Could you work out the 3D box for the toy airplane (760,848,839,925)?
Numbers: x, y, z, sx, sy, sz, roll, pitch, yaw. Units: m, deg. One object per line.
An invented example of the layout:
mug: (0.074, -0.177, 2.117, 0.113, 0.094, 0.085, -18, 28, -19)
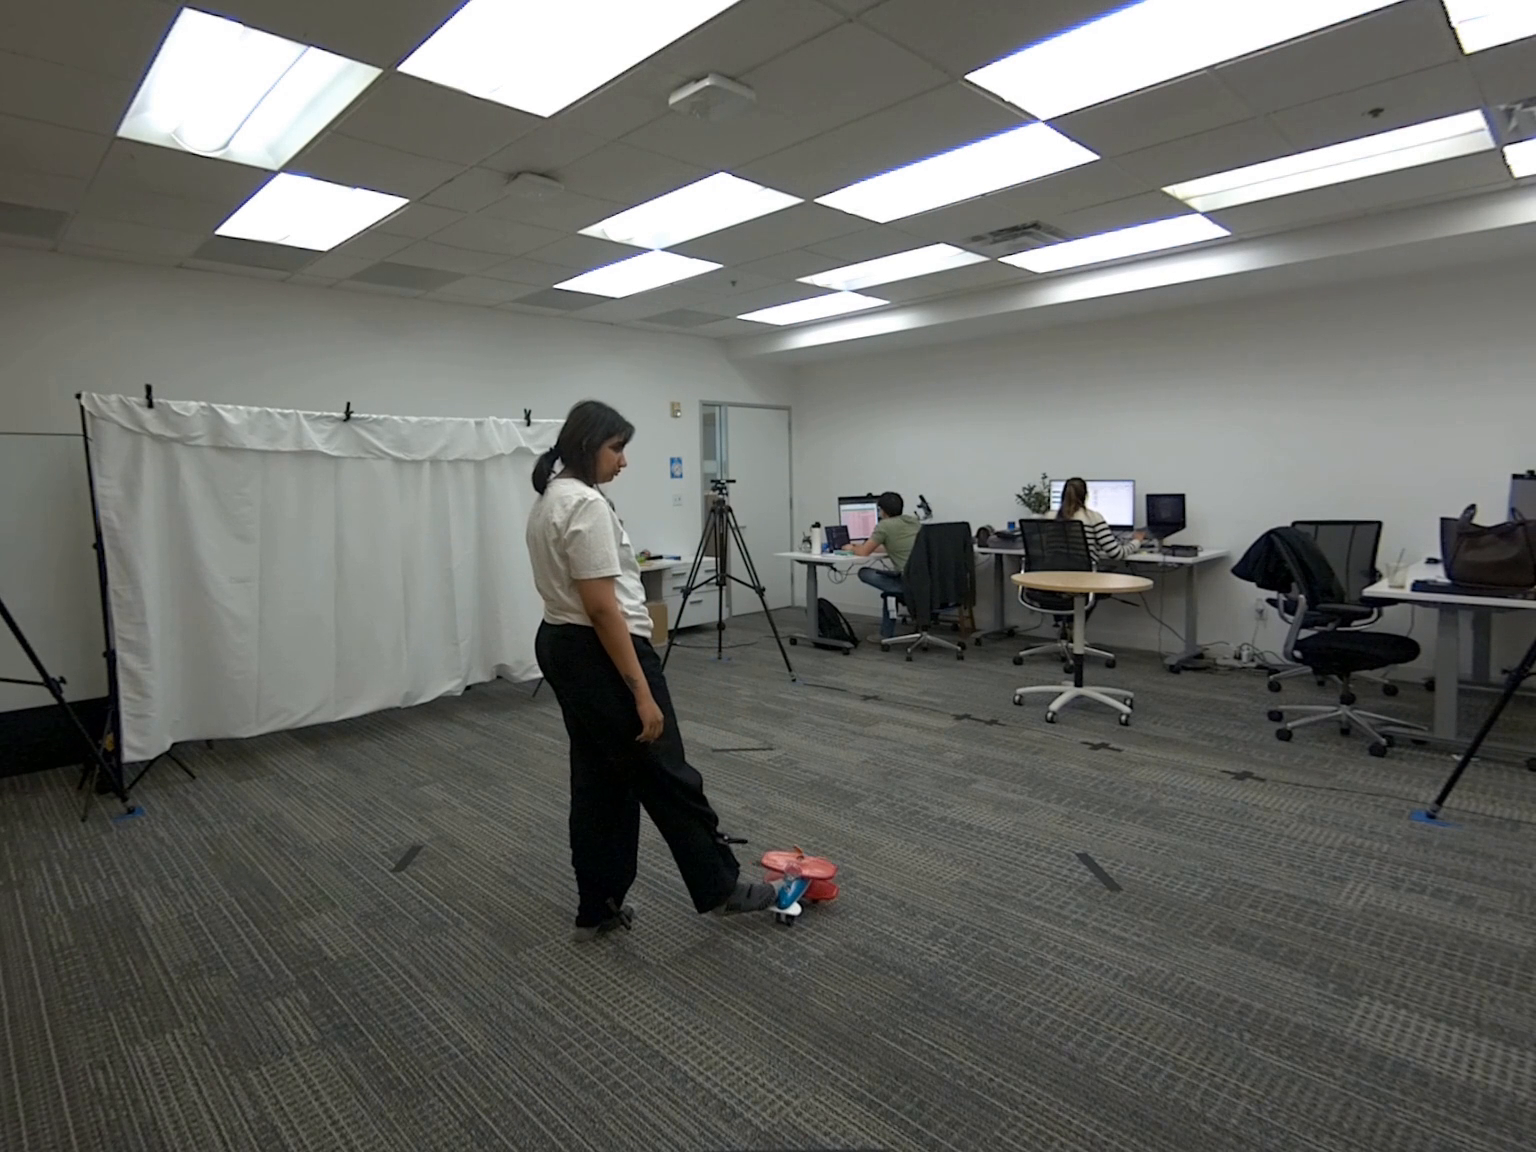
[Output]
toy airplane: (0.108, 1.006, 2.765, 0.250, 0.156, 0.261, -1, 5, -3)
